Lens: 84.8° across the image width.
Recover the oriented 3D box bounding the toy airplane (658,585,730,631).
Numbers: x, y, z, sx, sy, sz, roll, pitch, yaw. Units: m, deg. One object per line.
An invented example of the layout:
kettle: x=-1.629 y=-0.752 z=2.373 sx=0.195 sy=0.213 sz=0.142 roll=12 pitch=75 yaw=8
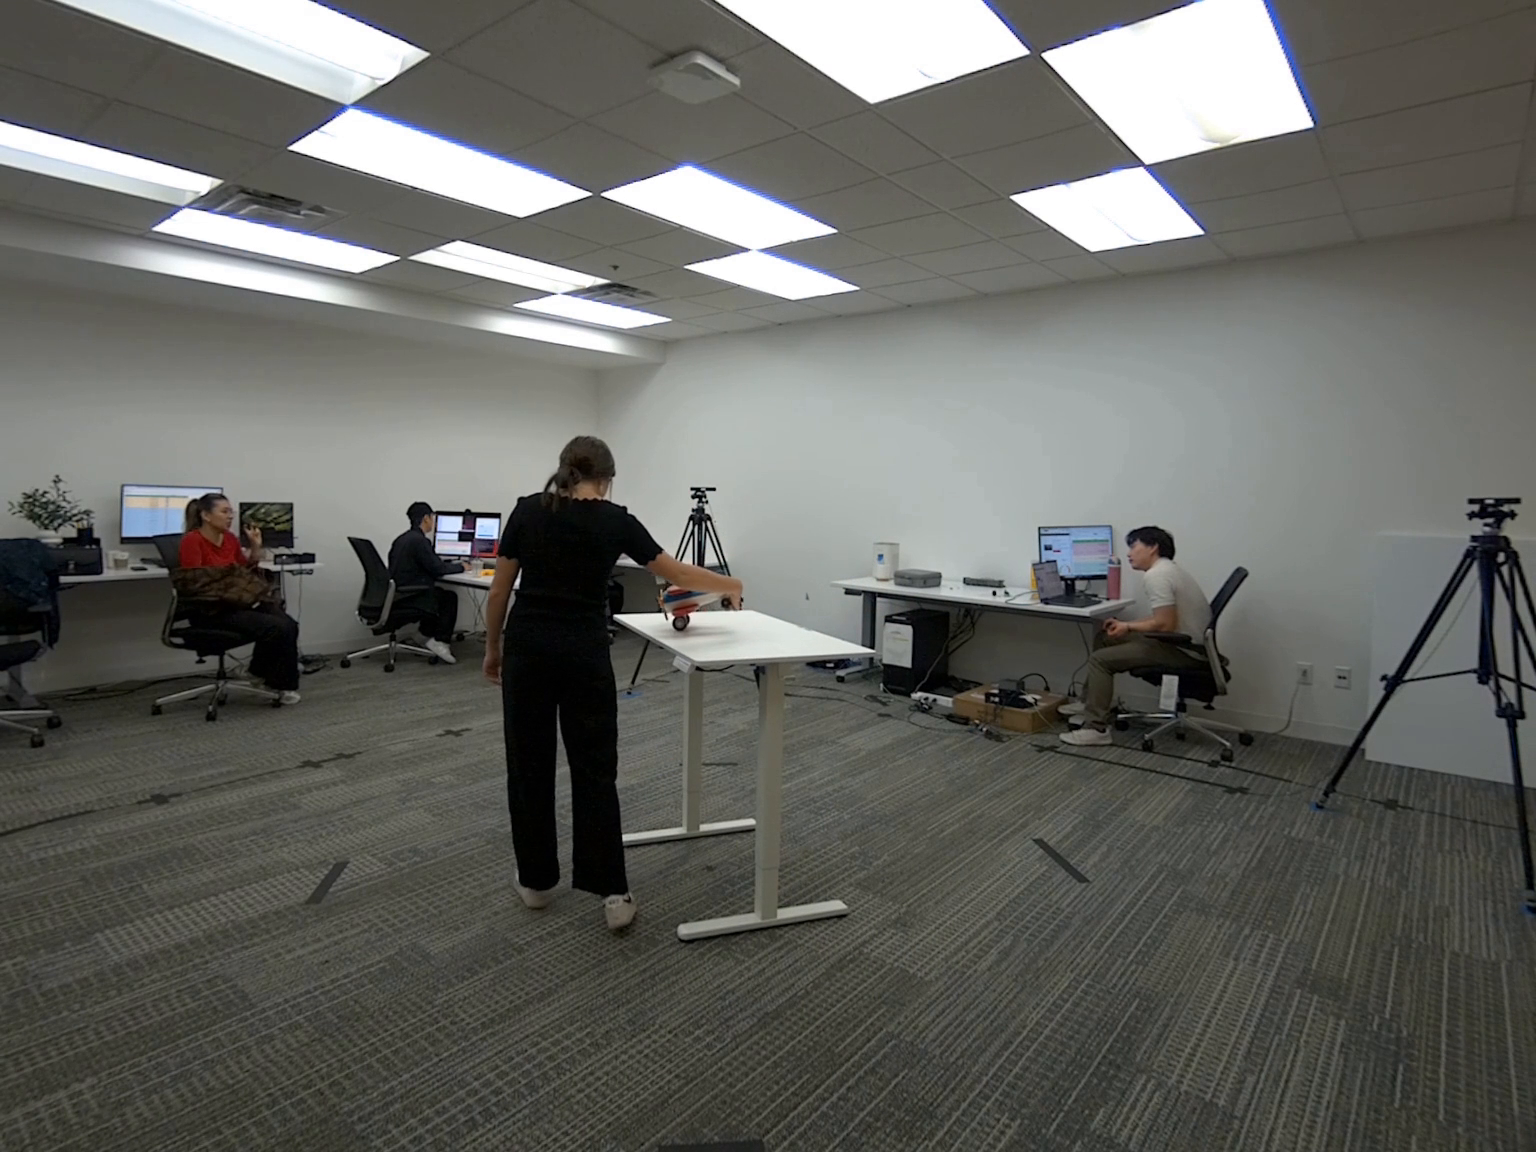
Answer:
toy airplane: x=-0.272 y=0.079 z=3.067 sx=0.256 sy=0.156 sz=0.255 roll=-30 pitch=5 yaw=-26
